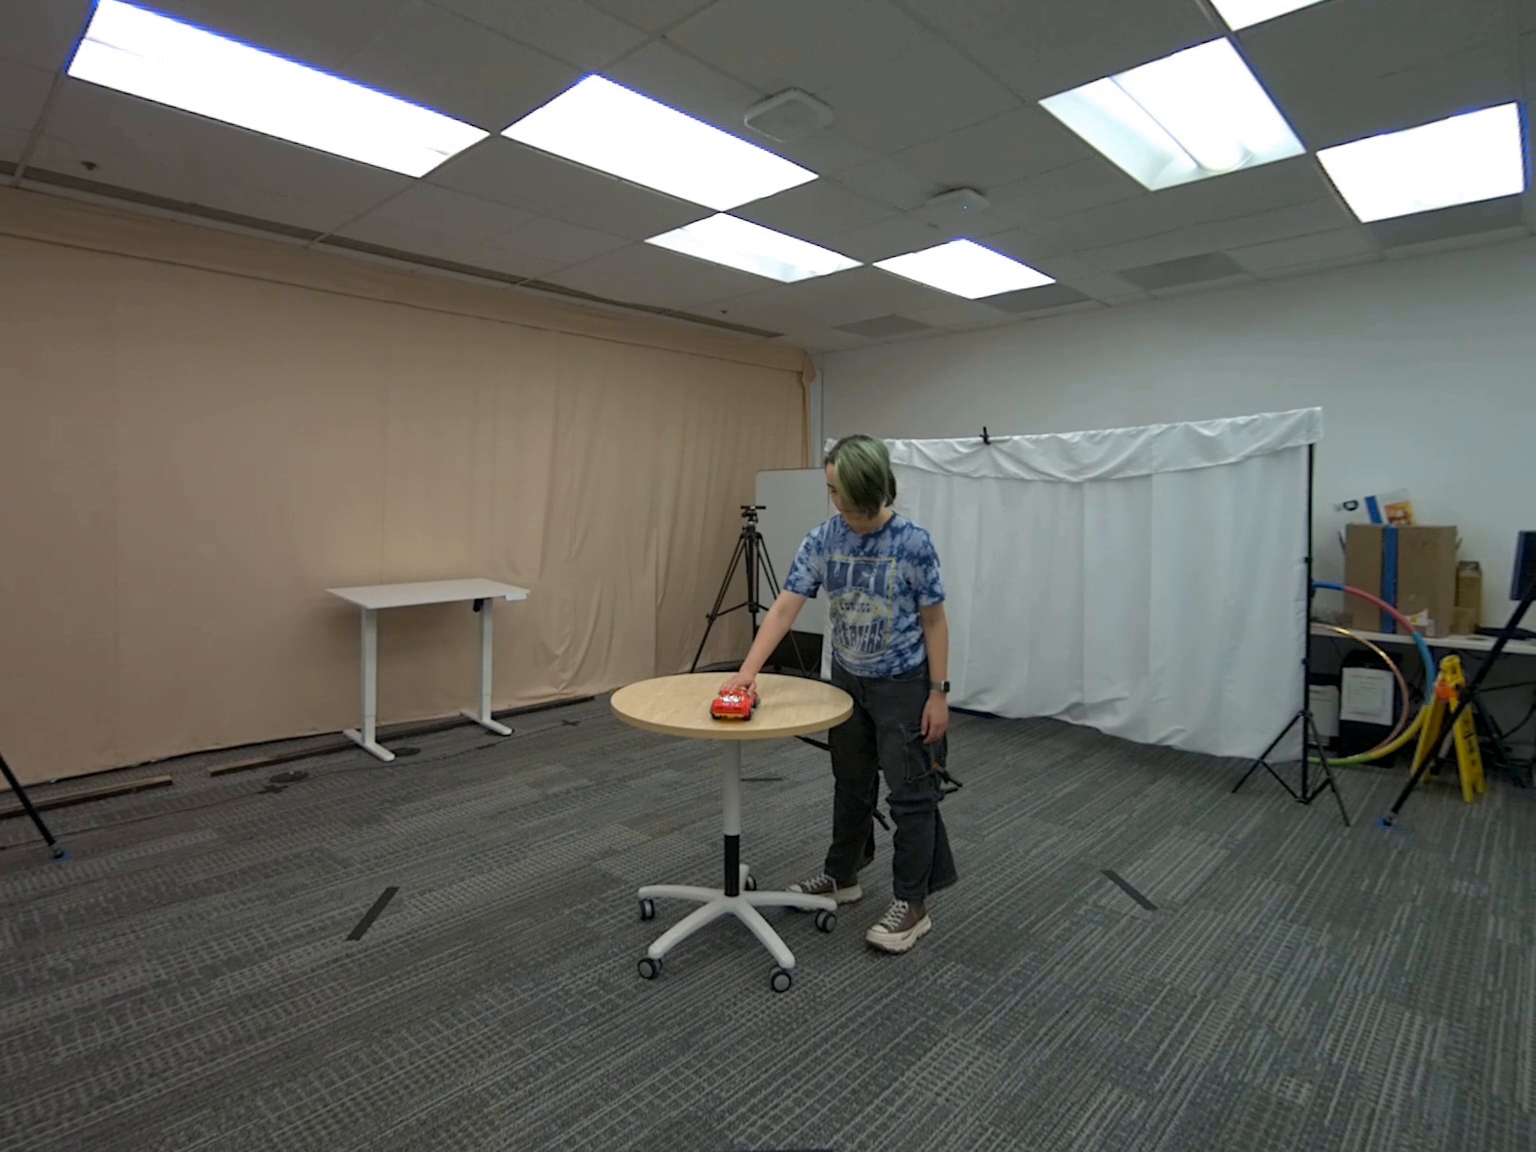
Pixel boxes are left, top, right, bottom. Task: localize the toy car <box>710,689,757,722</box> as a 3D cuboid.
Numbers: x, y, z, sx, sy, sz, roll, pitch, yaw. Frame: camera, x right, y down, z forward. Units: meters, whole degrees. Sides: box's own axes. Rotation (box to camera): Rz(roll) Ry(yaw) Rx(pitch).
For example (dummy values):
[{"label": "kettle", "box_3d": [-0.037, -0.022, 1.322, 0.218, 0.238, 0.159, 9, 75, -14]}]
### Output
[{"label": "toy car", "box_3d": [-0.094, 0.376, 2.453, 0.132, 0.083, 0.251, 3, -7, 9]}]
